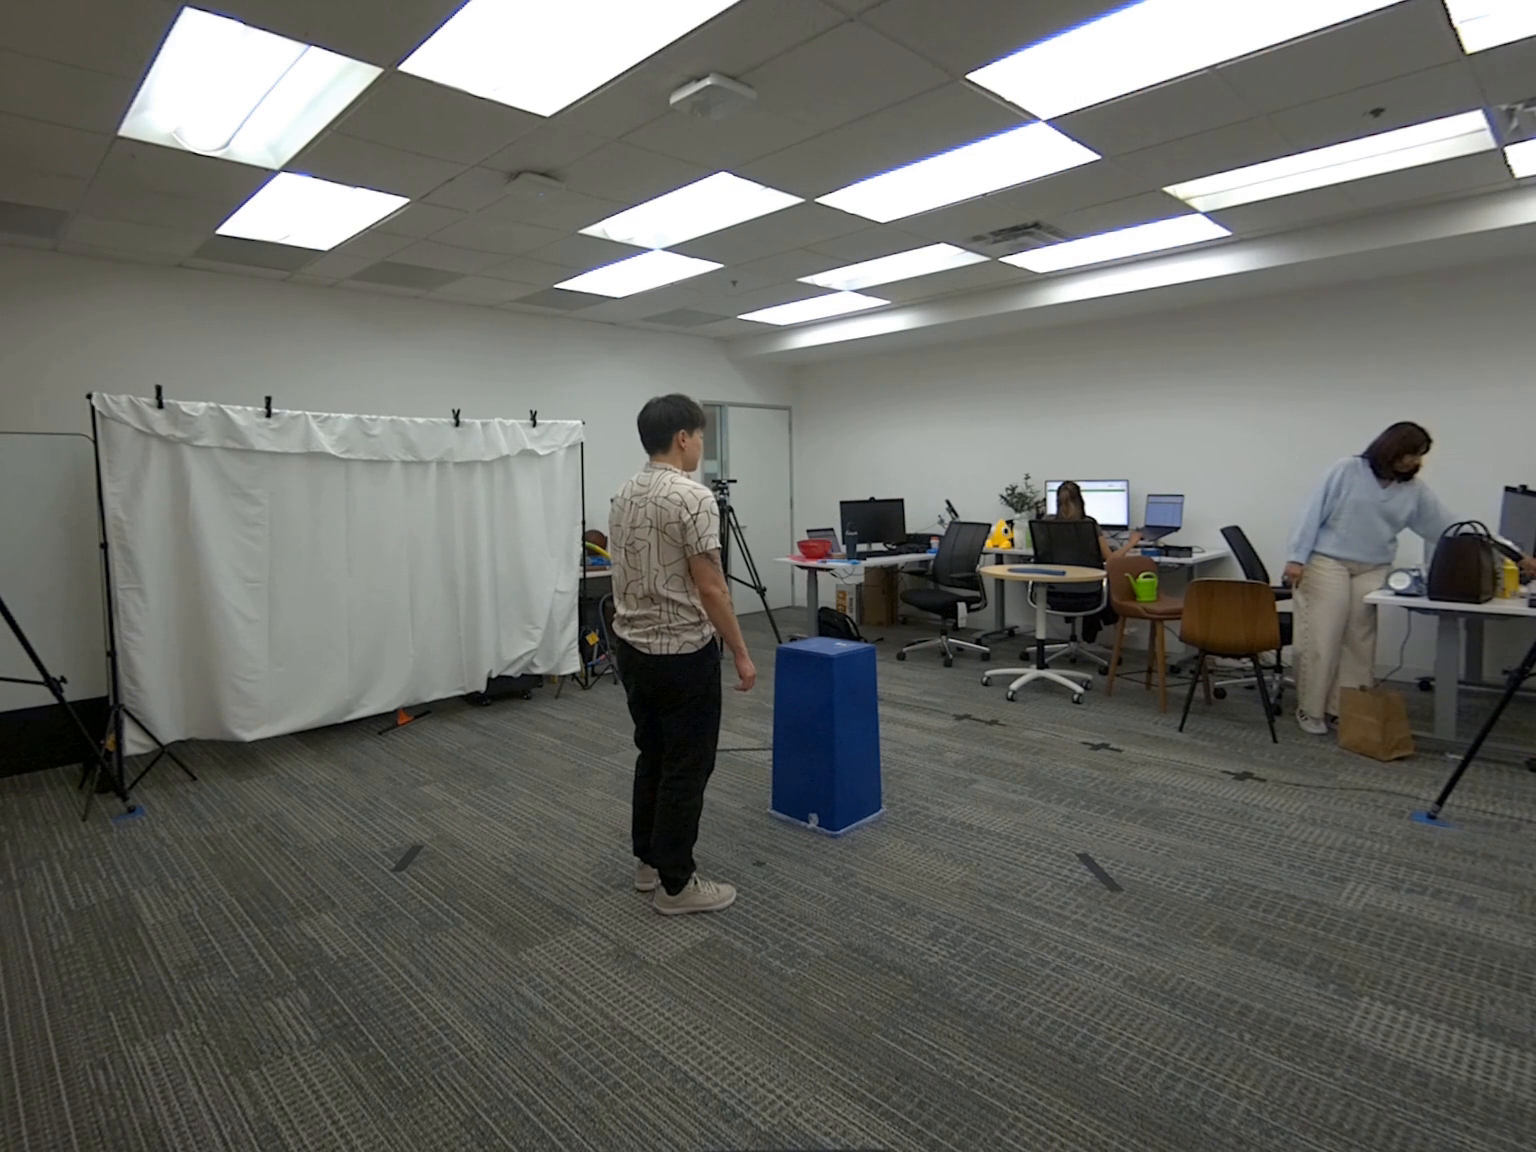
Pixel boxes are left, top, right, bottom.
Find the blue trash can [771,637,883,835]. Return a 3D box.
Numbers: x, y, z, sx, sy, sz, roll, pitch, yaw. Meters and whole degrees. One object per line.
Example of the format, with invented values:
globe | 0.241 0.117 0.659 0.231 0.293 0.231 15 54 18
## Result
blue trash can | 0.251 0.640 3.550 0.390 0.711 0.364 4 5 43
